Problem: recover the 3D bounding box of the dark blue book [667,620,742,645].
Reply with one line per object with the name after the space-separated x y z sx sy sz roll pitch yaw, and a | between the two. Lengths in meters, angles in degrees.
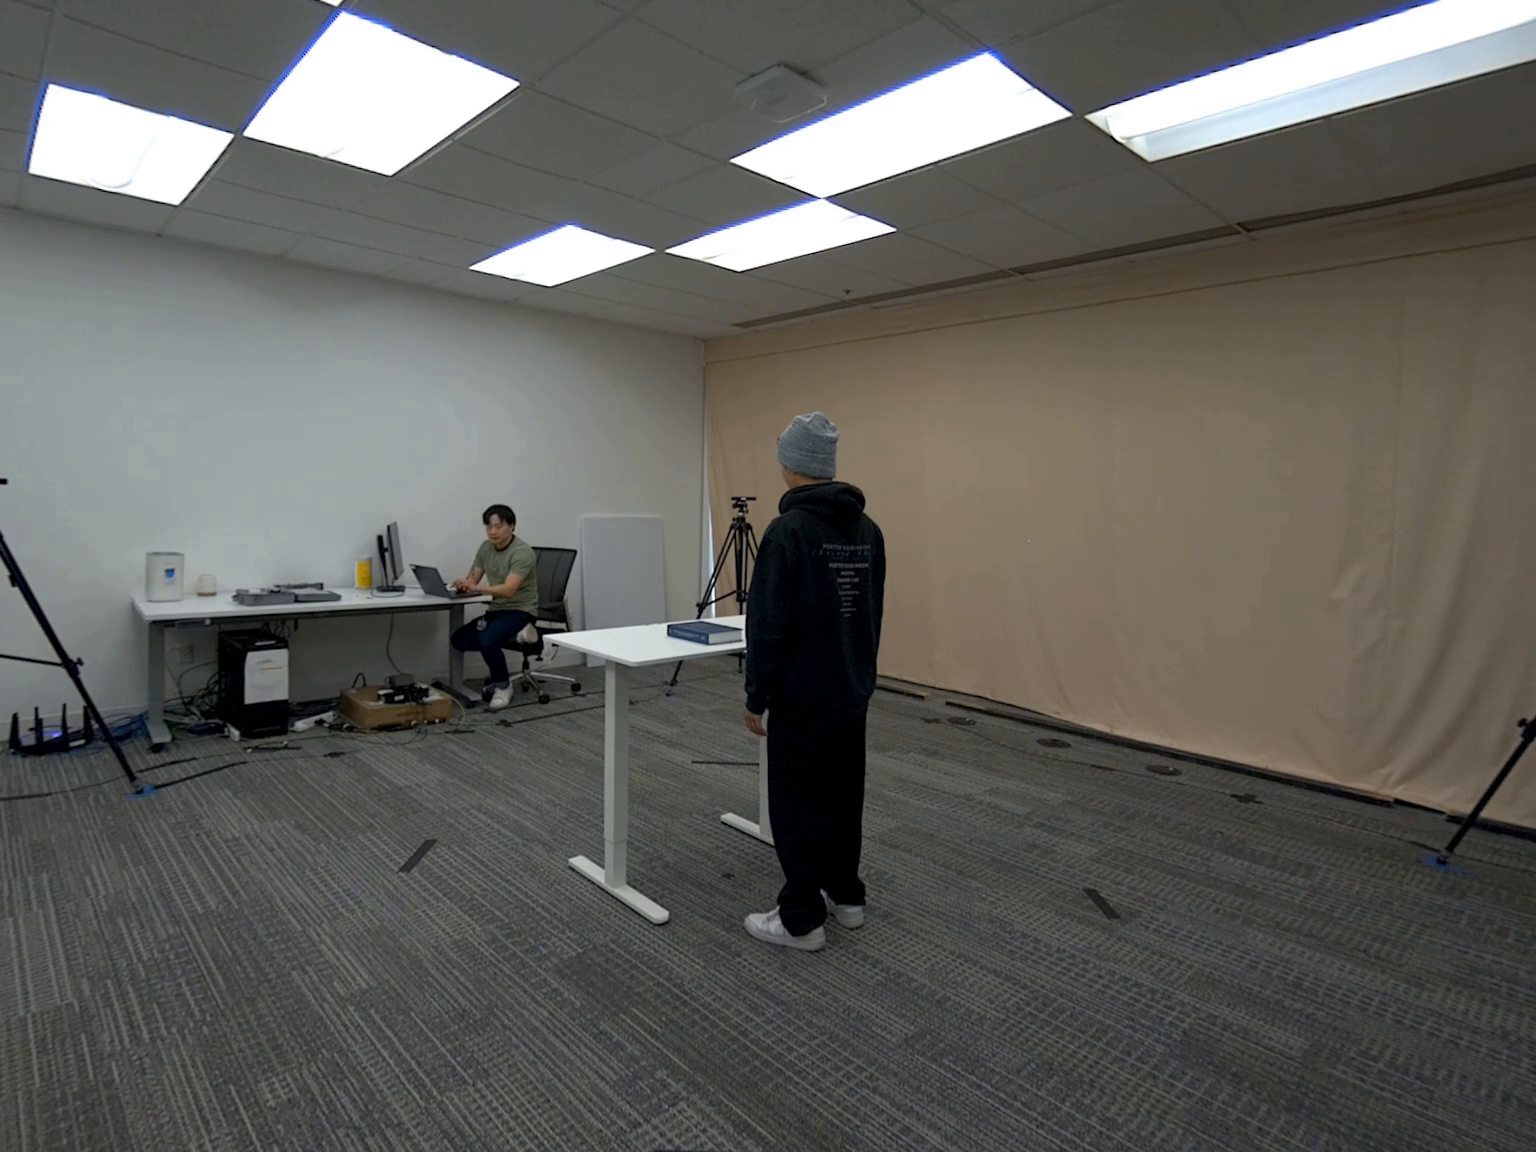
-0.244 0.209 3.057 0.160 0.045 0.251 -4 7 -41 | dark blue book
